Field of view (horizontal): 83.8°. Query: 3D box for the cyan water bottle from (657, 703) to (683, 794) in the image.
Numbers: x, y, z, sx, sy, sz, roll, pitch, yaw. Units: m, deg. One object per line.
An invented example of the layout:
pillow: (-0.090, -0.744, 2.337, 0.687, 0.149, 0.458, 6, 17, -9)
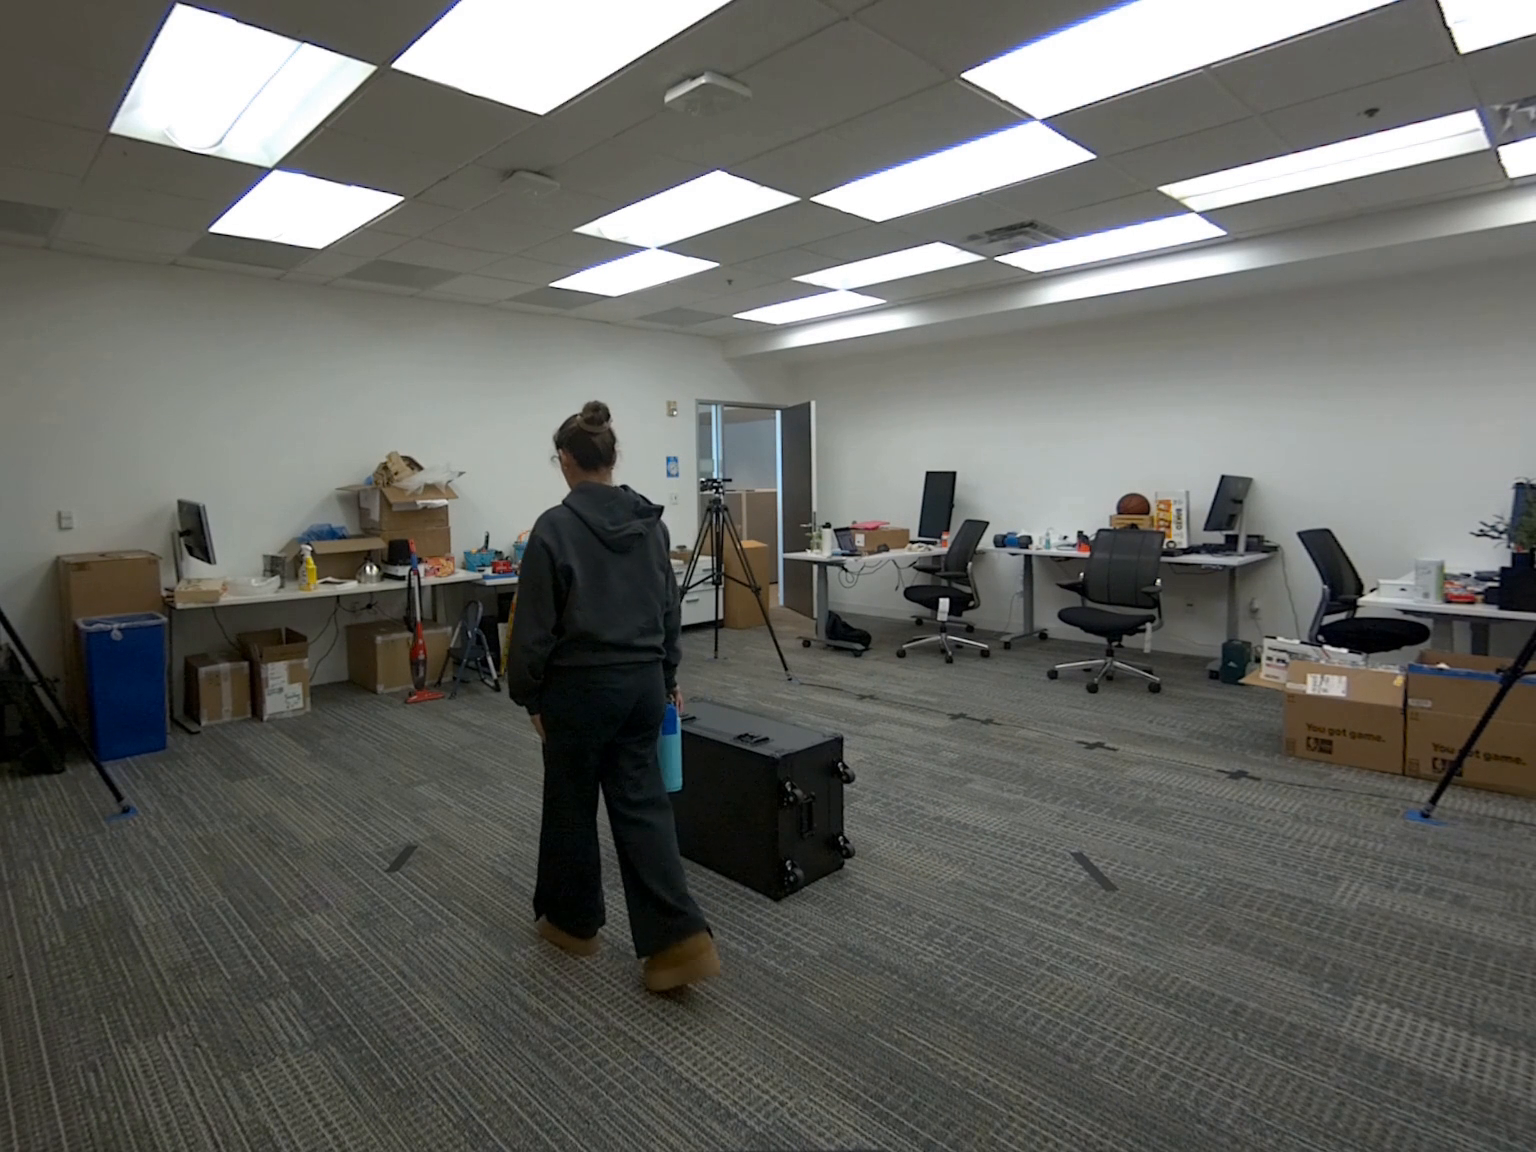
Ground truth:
cyan water bottle: (-0.320, 0.533, 2.681, 0.092, 0.284, 0.092, 0, -2, -2)
